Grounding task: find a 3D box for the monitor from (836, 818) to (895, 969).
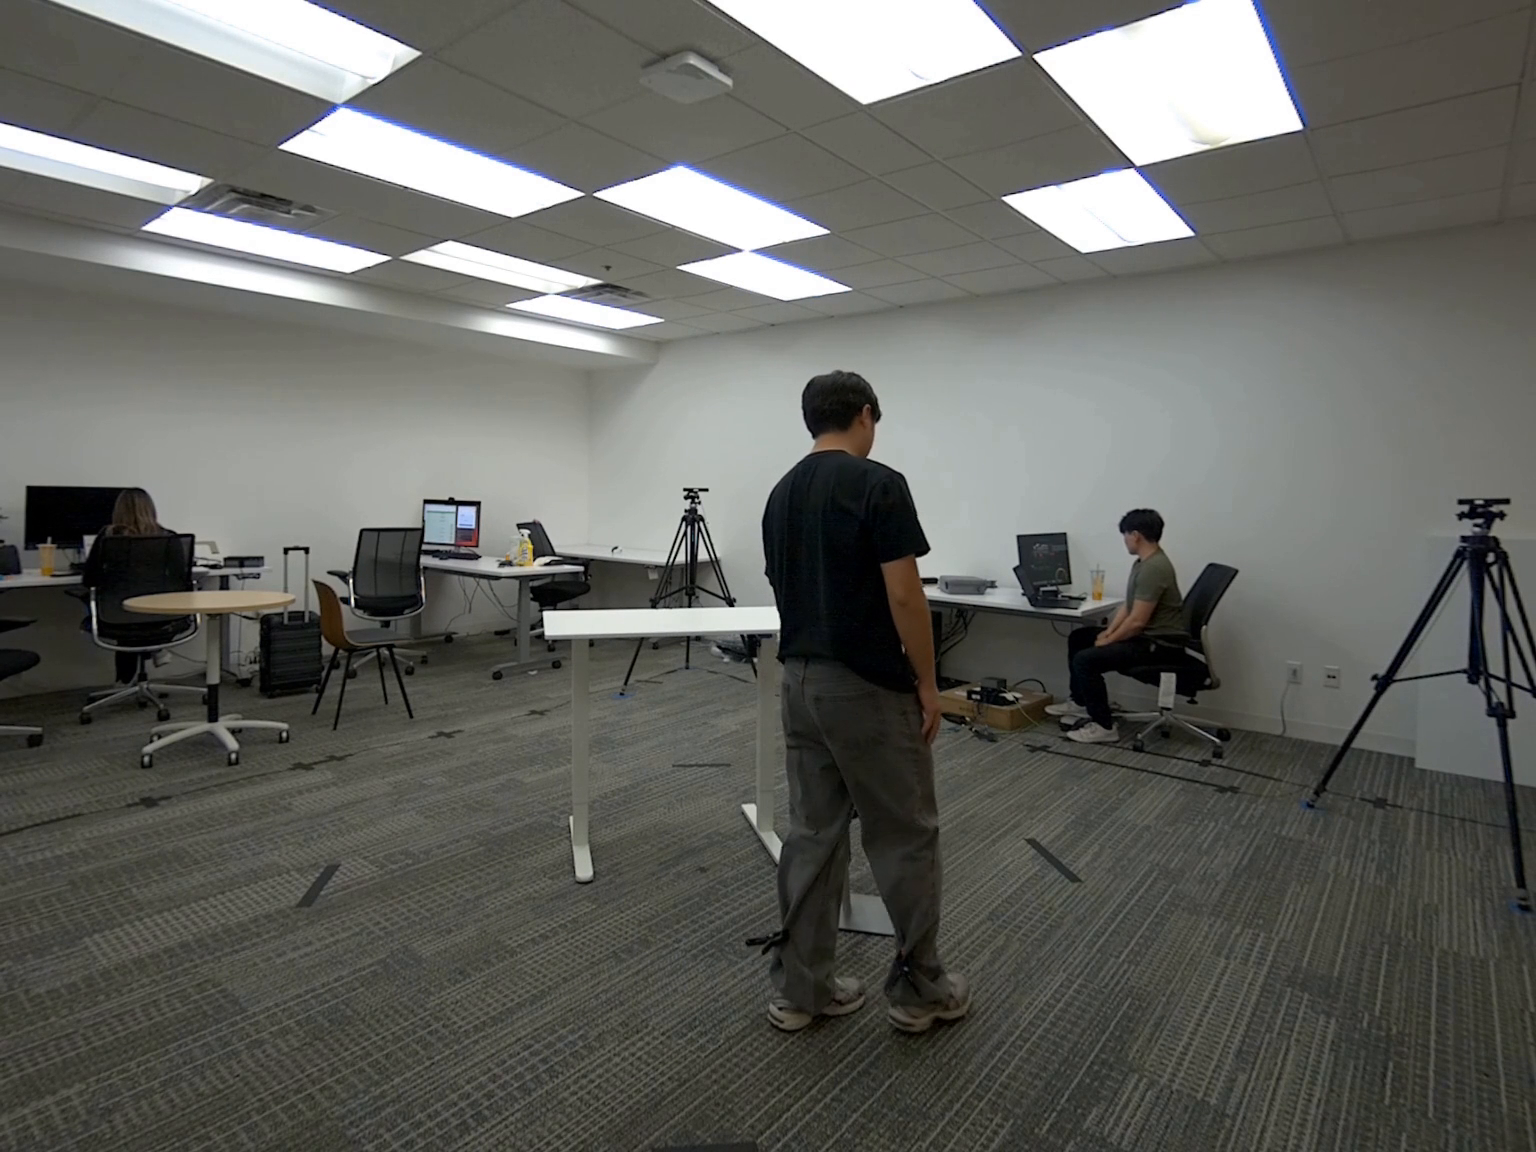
[{"bbox_3d":[0.319,0.851,2.785,0.224,0.564,0.557,7,4,7],"label":"monitor"}]
